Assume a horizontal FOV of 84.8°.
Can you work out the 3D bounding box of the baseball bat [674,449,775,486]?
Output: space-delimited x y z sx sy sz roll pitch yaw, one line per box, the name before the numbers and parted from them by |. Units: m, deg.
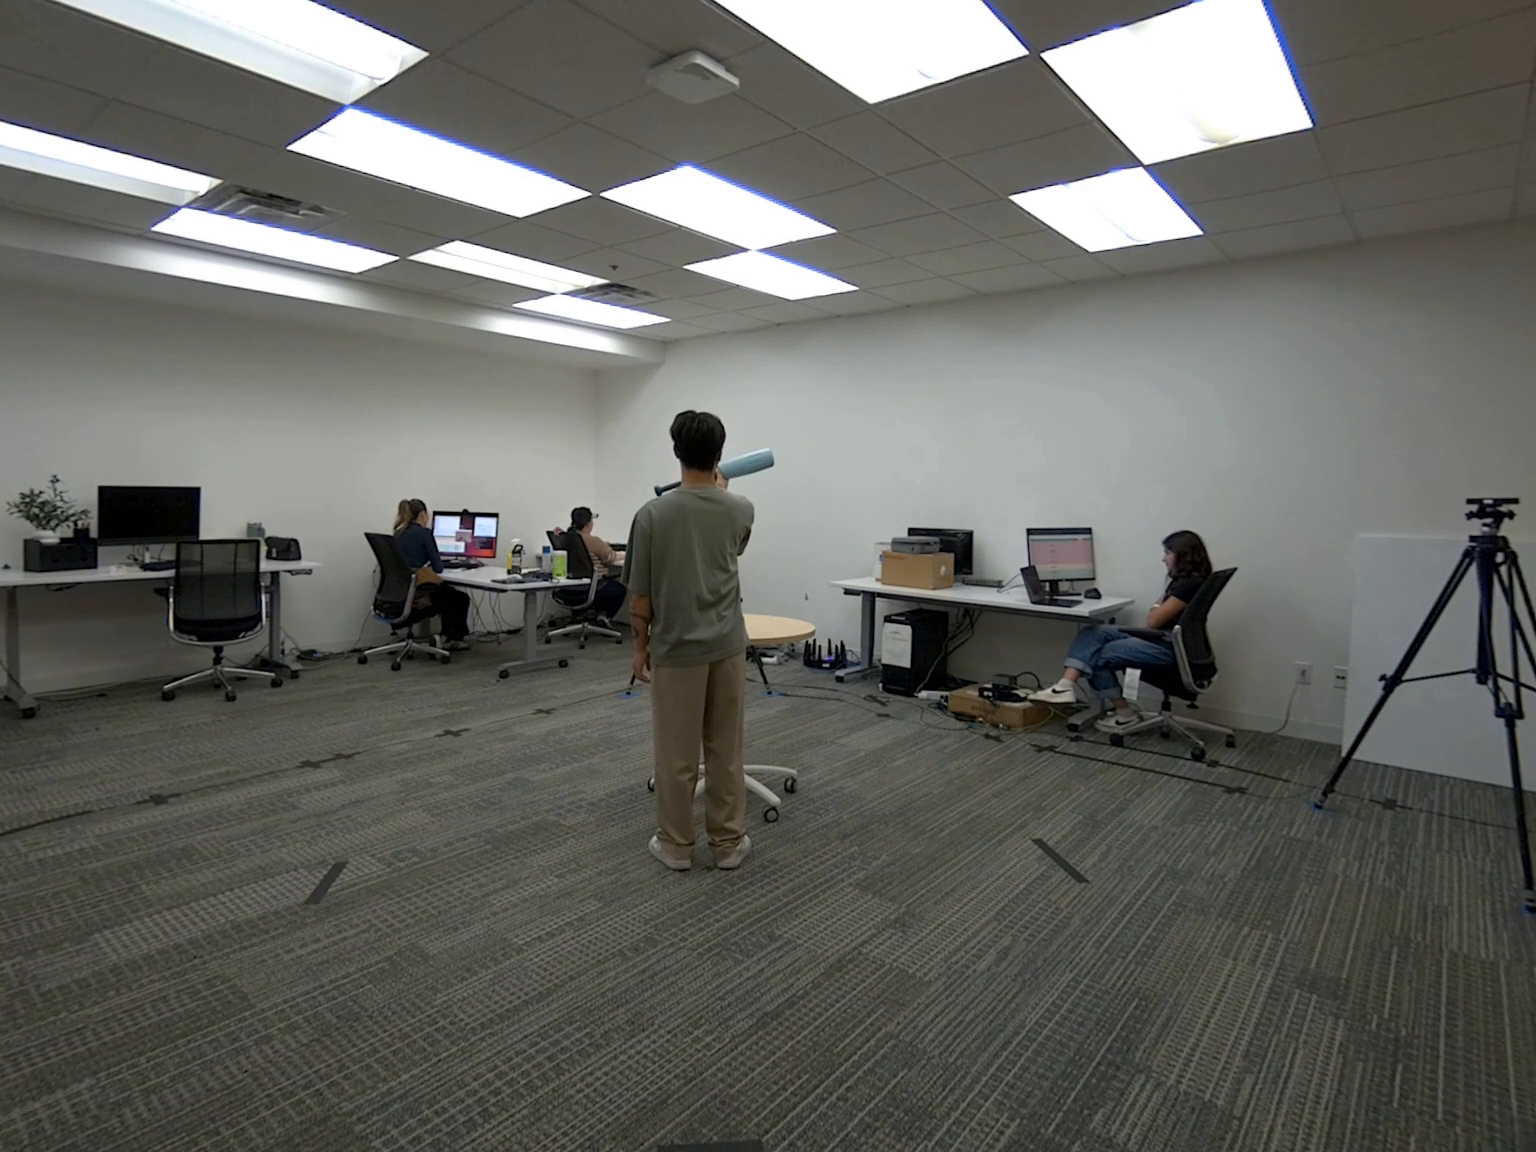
baseball bat | -0.243 -0.449 3.710 0.539 0.088 0.090 -18 8 -9
